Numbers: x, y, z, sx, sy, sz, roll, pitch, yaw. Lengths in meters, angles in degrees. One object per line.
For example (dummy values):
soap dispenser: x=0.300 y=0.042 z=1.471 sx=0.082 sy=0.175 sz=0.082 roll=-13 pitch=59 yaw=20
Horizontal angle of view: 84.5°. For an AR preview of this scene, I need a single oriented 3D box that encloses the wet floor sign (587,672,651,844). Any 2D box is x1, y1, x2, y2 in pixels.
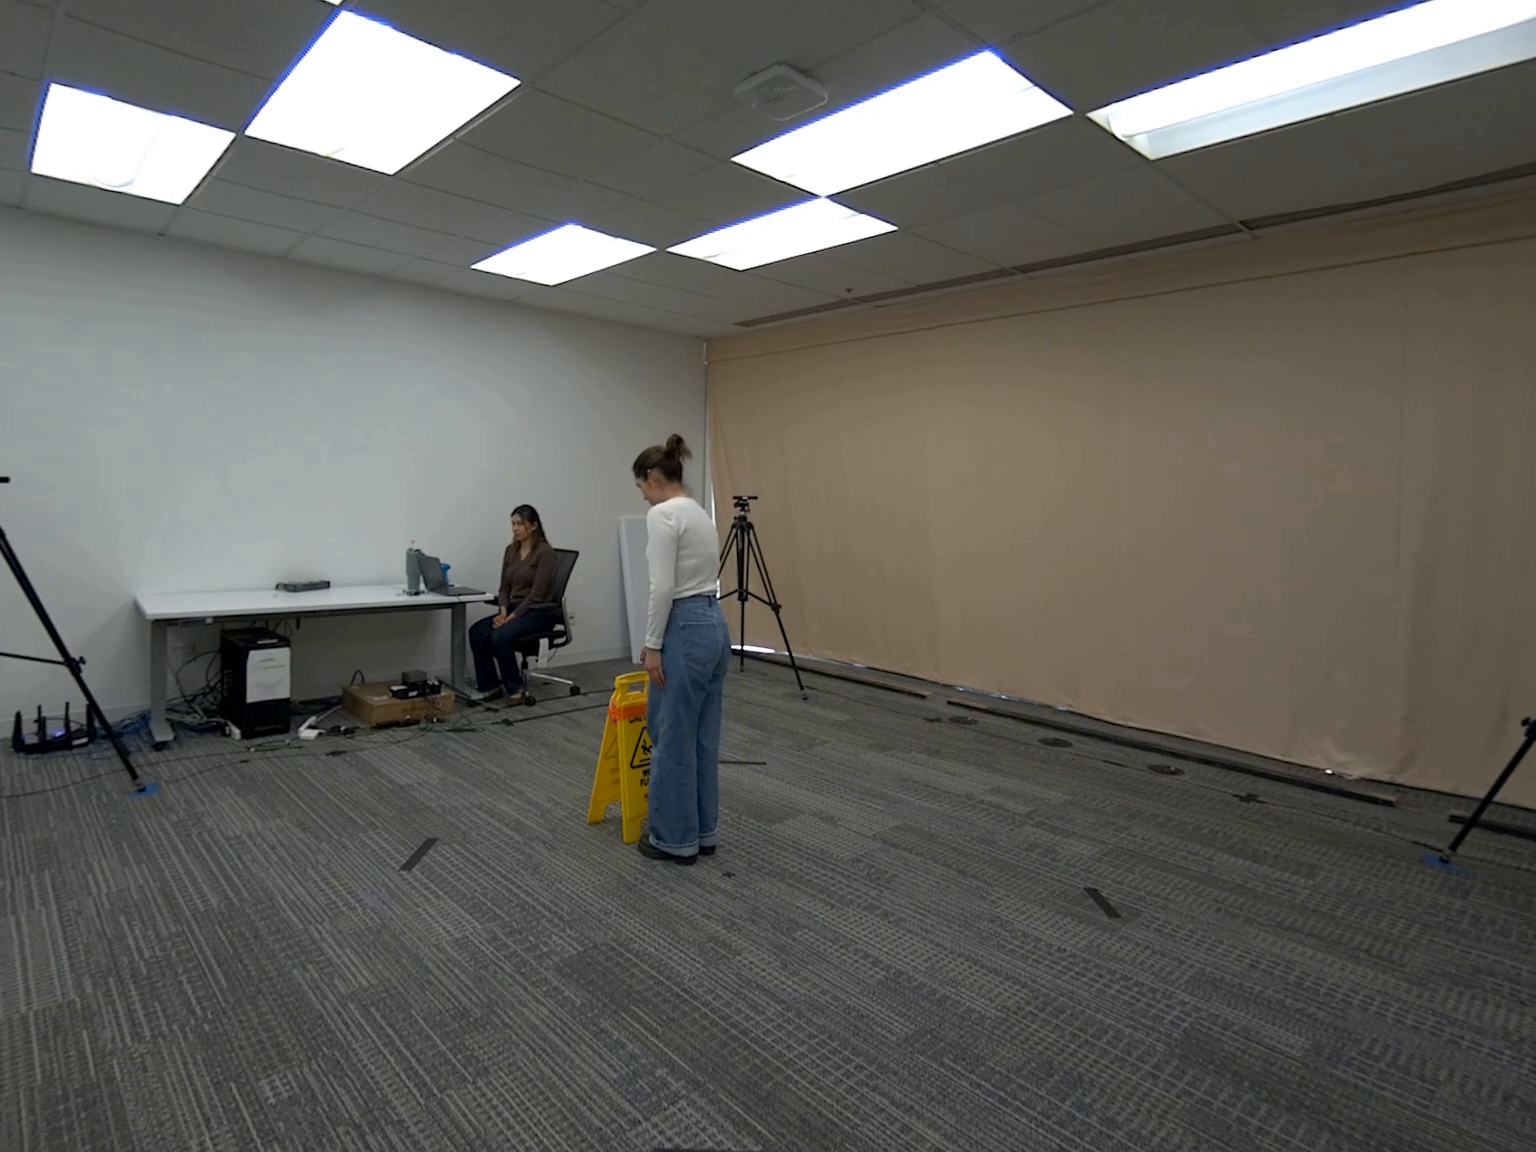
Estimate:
wet floor sign: x=-0.569 y=0.731 z=3.534 sx=0.275 sy=0.645 sz=0.297 roll=-1 pitch=3 yaw=-44
